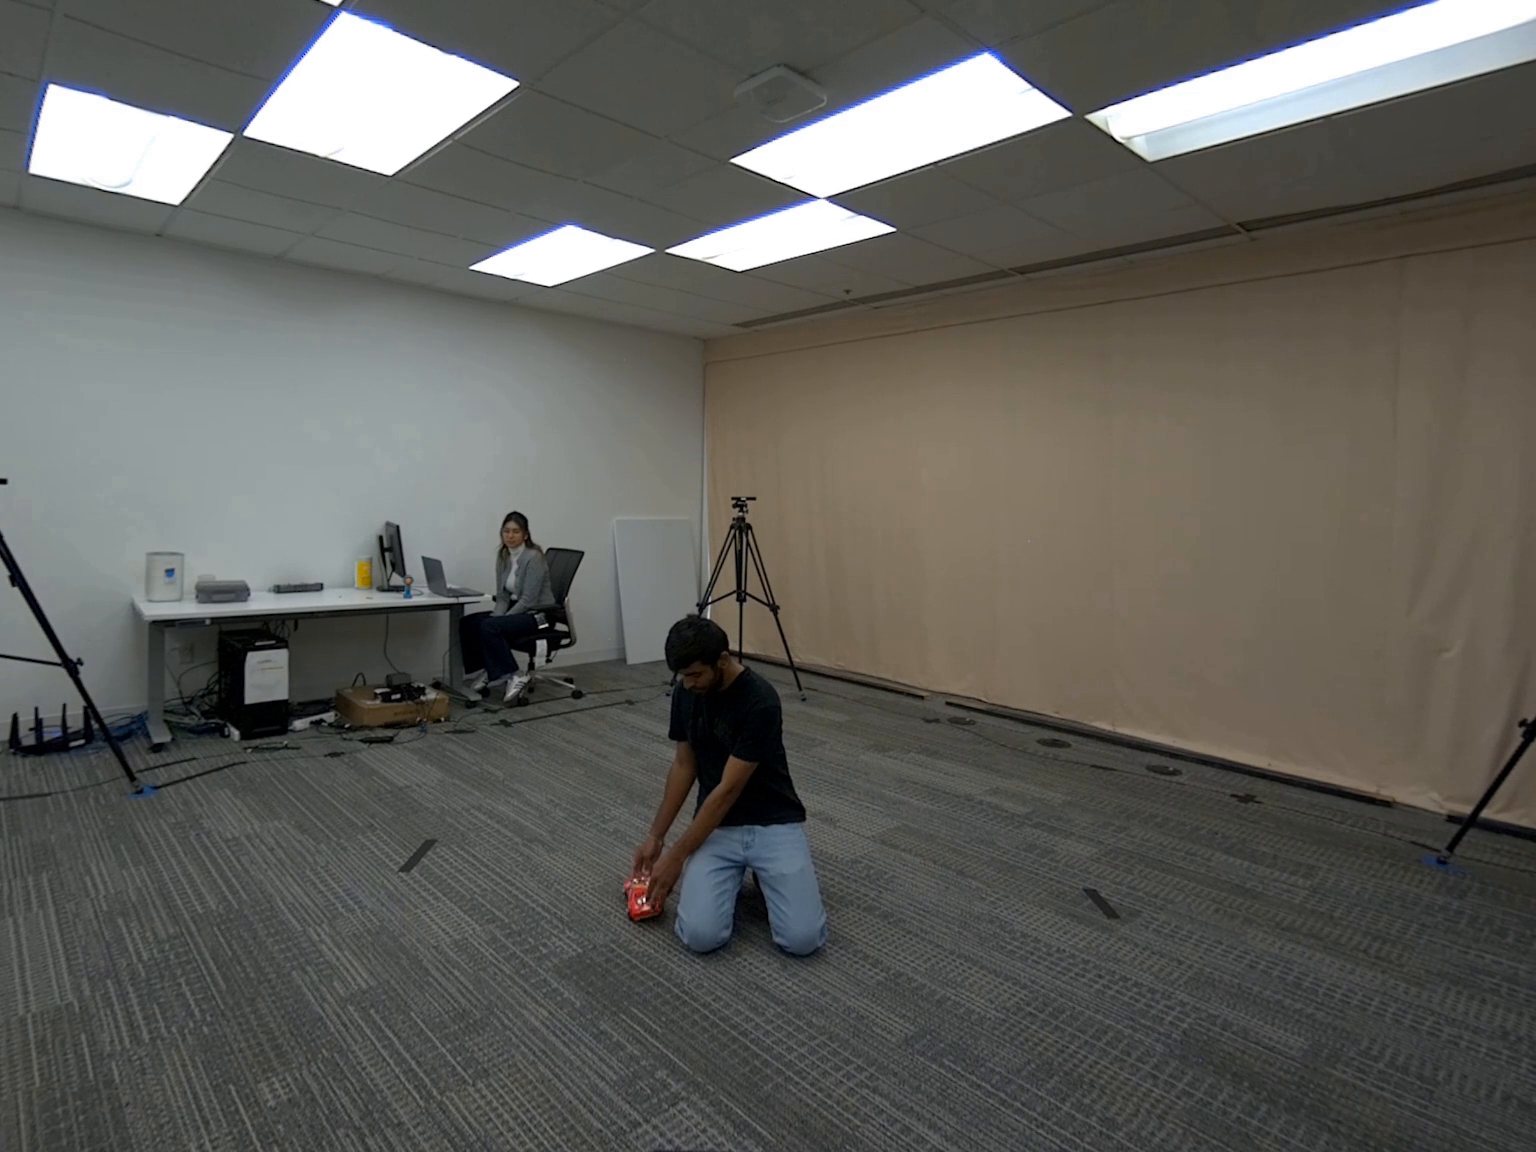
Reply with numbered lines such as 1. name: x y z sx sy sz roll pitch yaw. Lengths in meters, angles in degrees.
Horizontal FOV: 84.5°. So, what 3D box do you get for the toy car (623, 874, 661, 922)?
1. toy car: -0.421 1.073 2.821 0.129 0.083 0.255 -5 -5 -12
